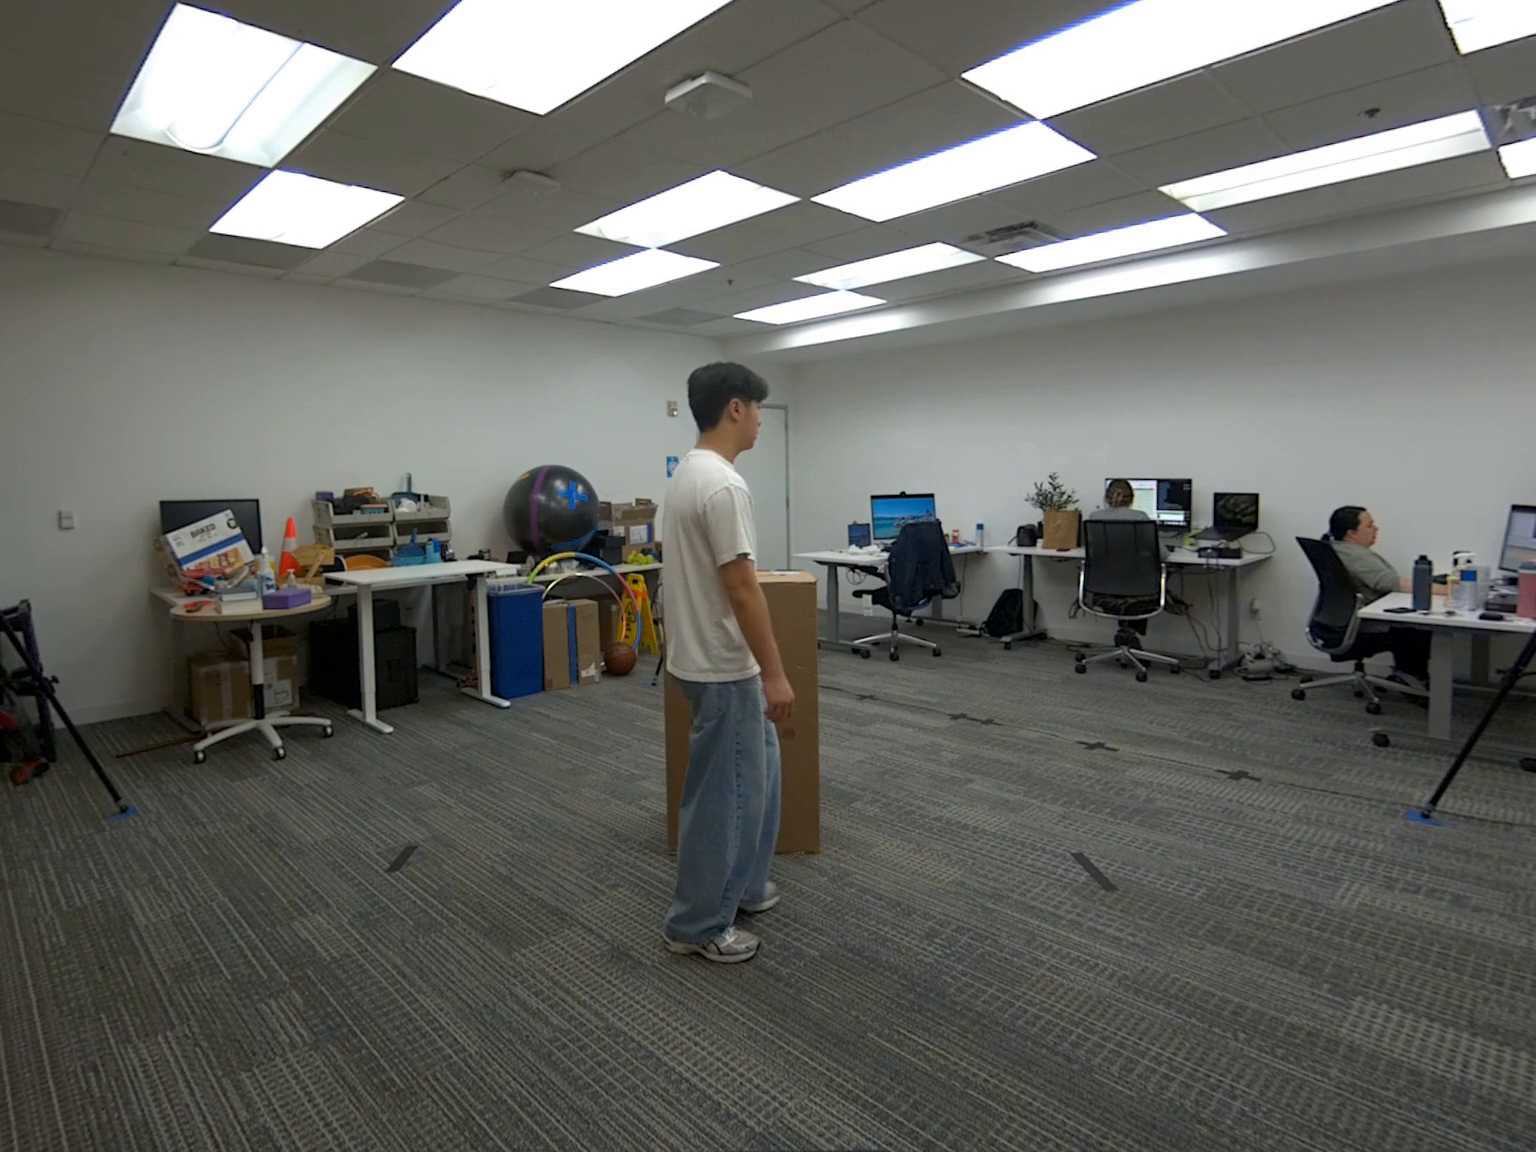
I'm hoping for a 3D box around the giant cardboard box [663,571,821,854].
[{"bbox_3d":[-0.101,0.508,3.365,0.577,1.022,0.428,-1,4,-2],"label":"giant cardboard box"}]
